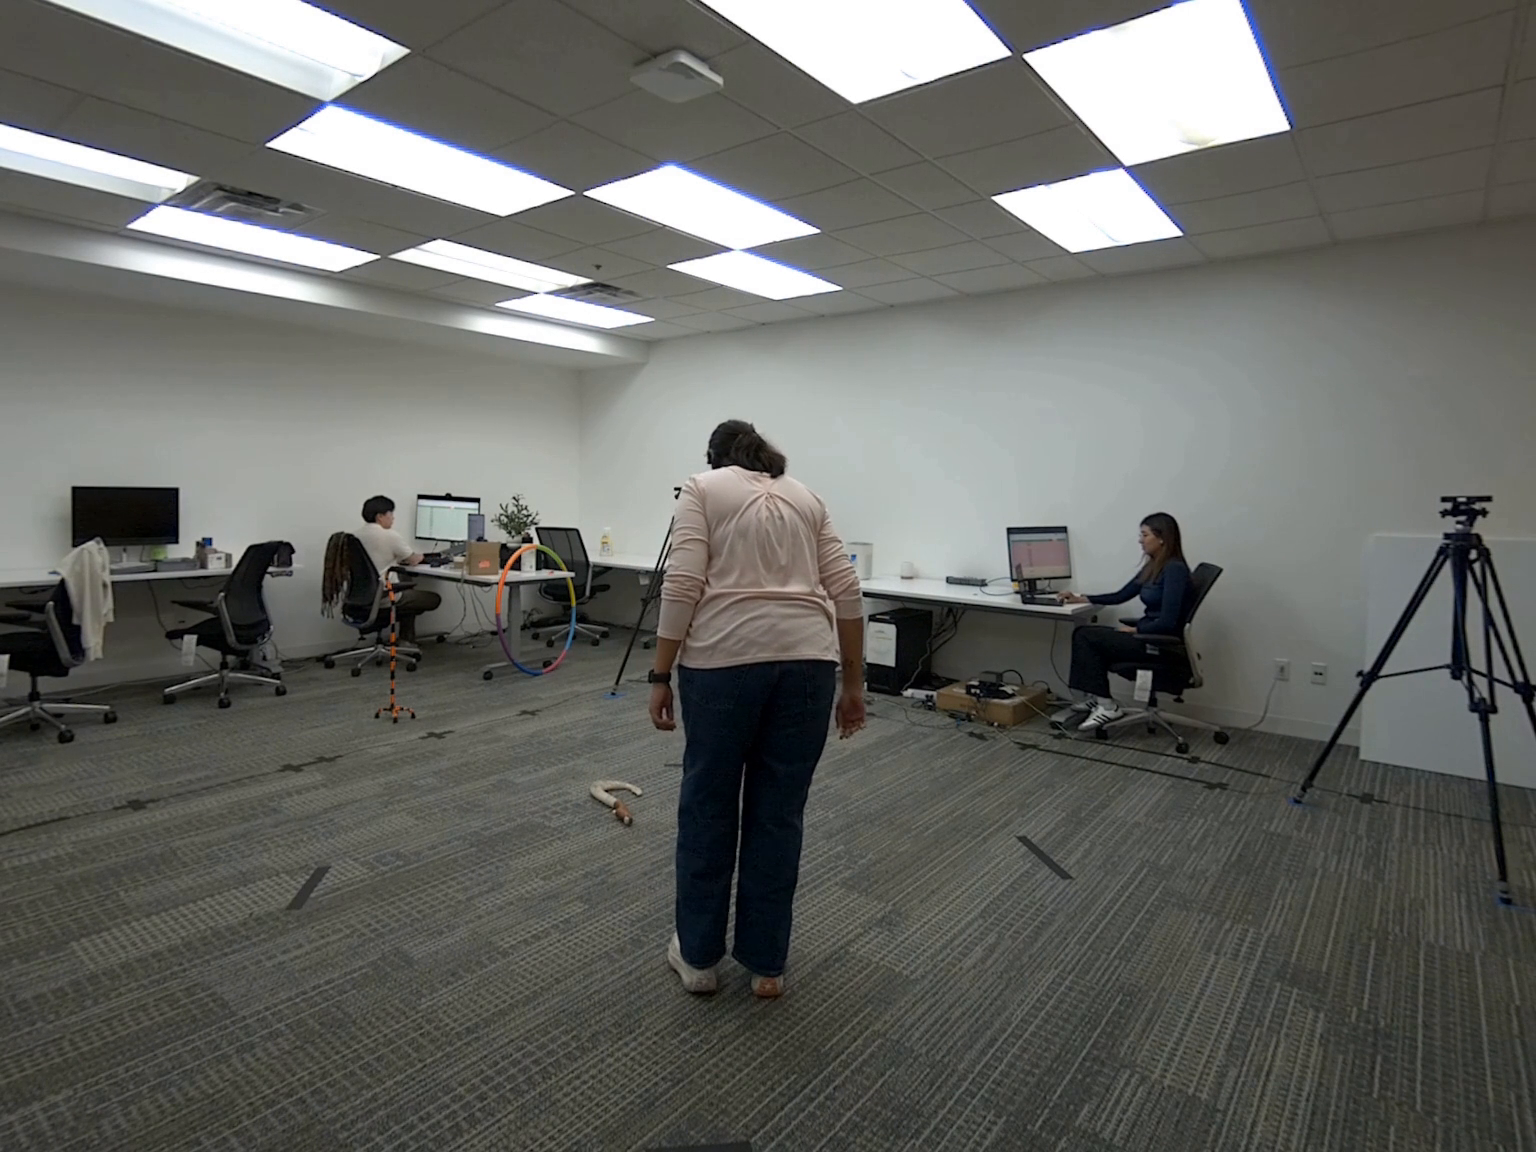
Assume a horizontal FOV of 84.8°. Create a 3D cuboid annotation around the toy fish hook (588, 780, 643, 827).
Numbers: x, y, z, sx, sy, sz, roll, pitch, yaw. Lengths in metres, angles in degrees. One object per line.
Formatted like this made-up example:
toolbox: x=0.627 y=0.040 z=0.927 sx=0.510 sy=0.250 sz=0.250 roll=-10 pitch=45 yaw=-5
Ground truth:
toy fish hook: x=-0.640 y=0.977 z=3.721 sx=0.219 sy=0.048 sz=0.521 roll=-2 pitch=7 yaw=-25
